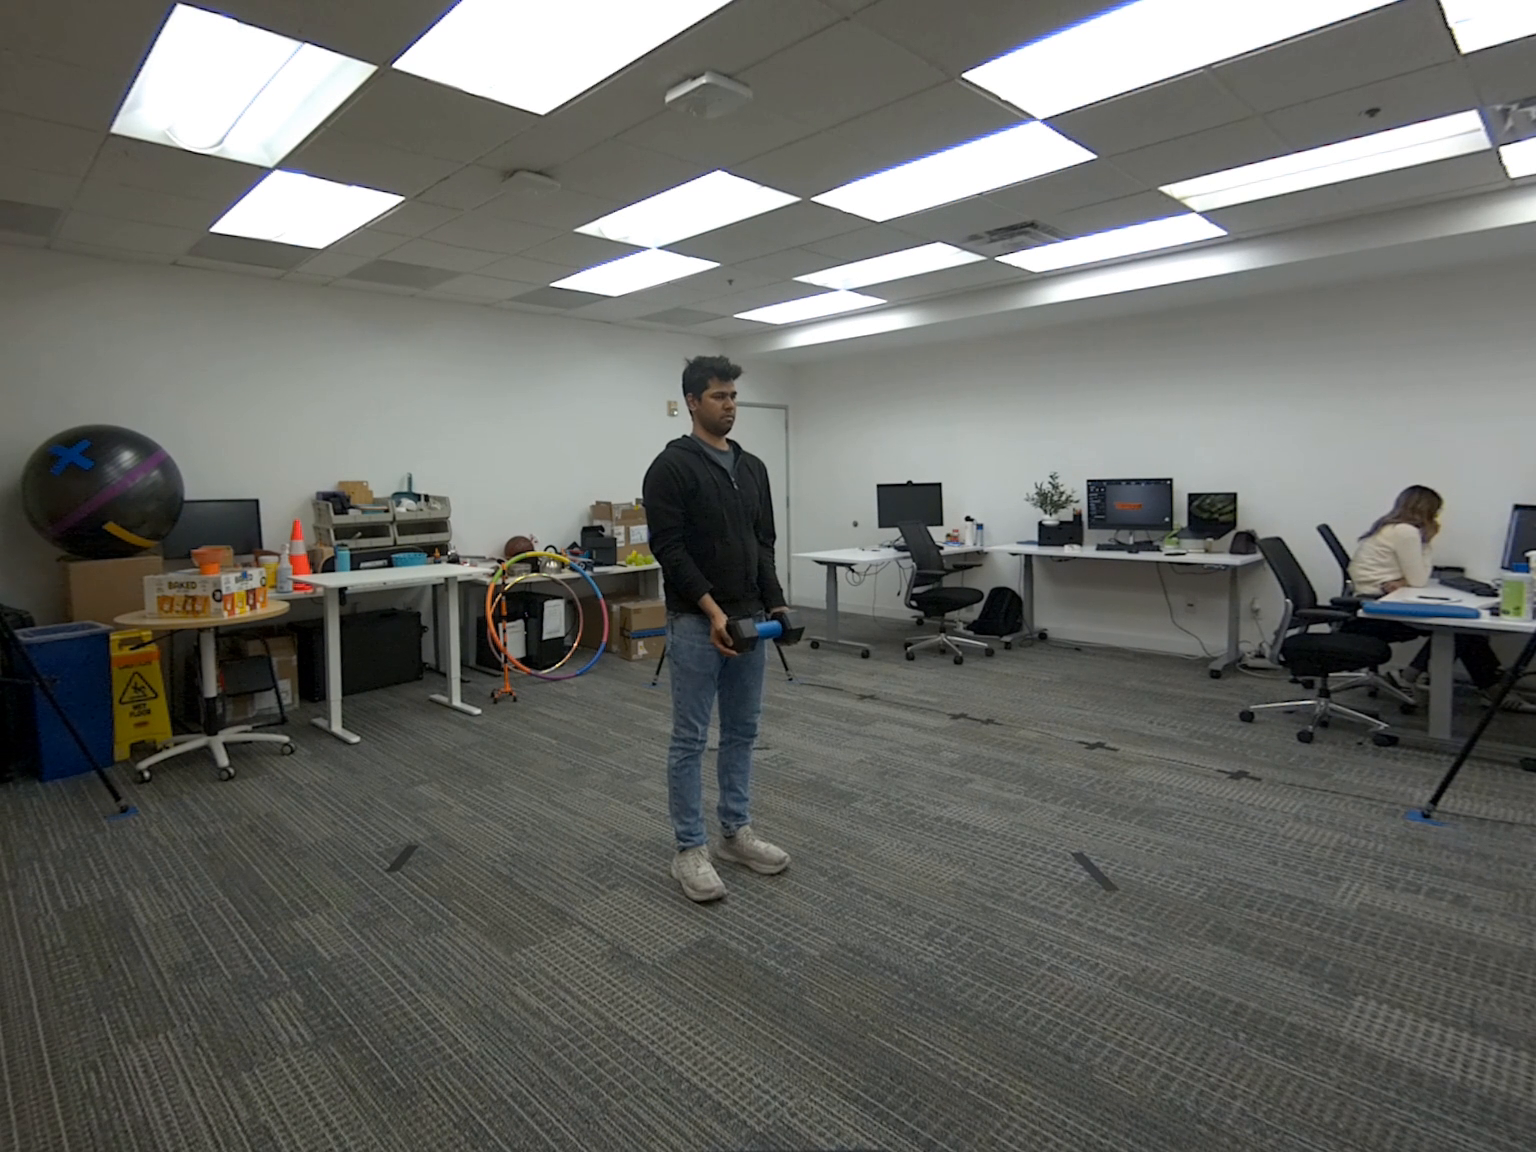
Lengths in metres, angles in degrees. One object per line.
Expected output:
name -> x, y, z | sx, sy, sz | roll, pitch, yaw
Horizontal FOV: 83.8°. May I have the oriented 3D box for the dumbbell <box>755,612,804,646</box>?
dumbbell -> -0.012, 0.163, 2.847 | 0.286, 0.121, 0.113 | -8, 34, -41
